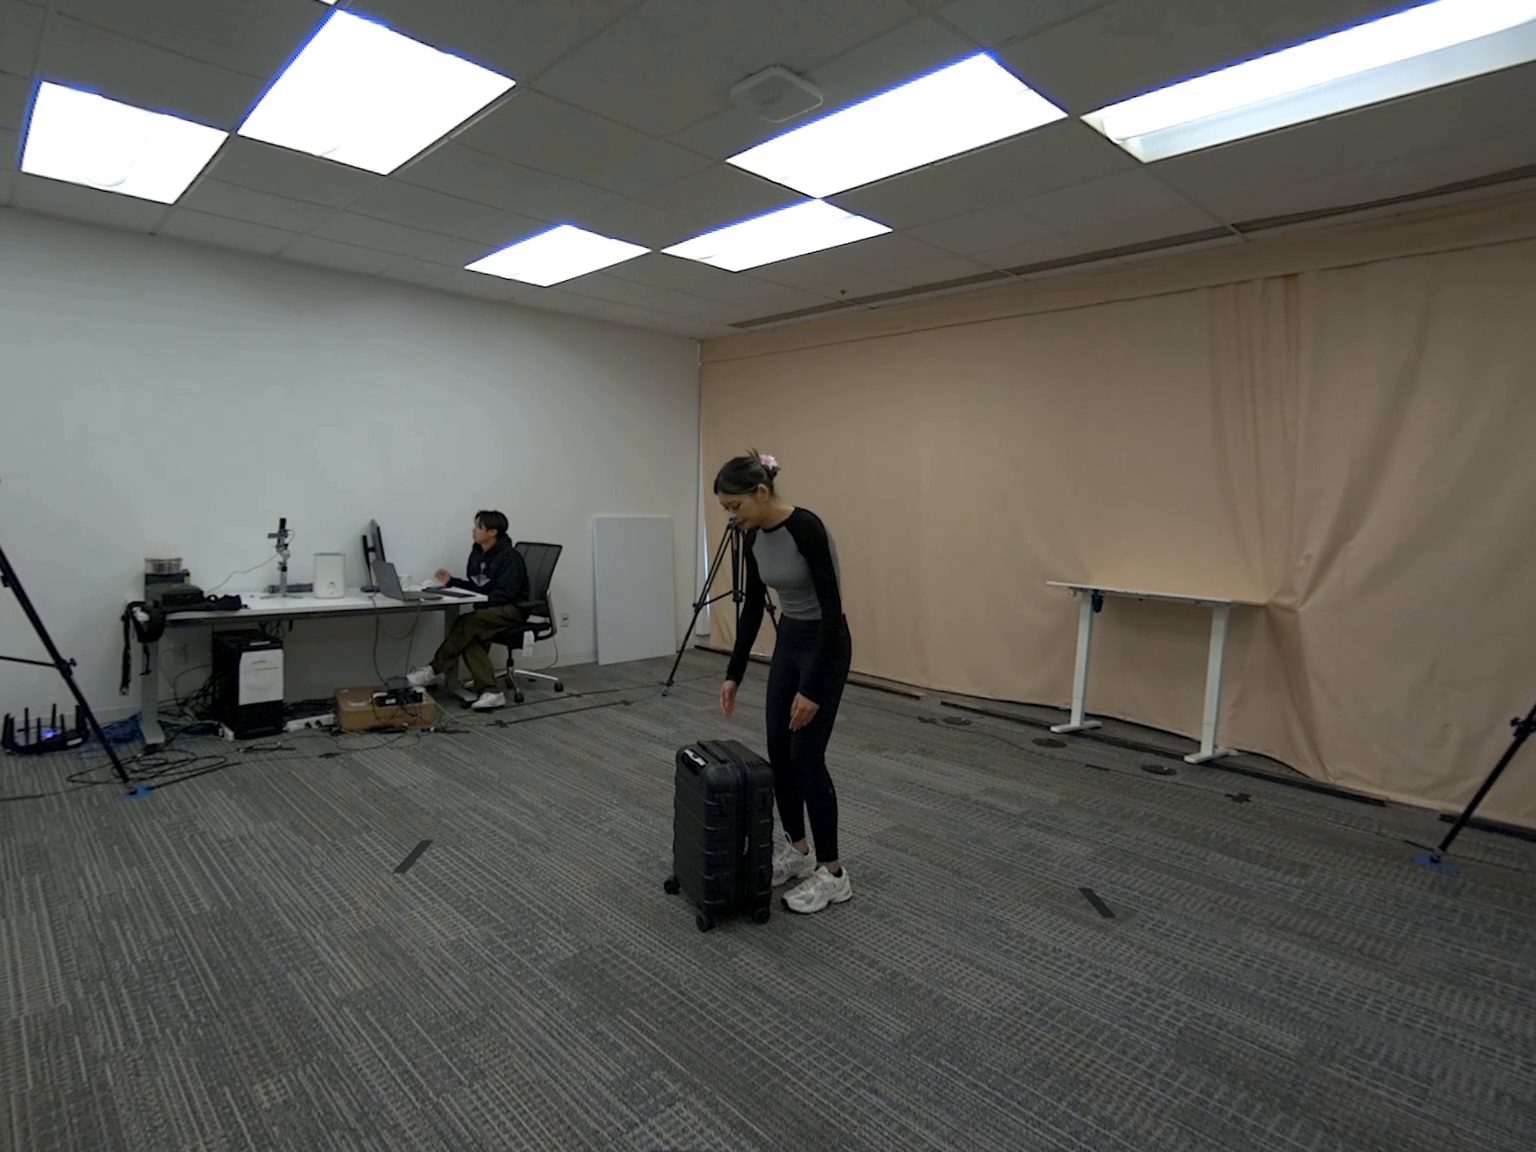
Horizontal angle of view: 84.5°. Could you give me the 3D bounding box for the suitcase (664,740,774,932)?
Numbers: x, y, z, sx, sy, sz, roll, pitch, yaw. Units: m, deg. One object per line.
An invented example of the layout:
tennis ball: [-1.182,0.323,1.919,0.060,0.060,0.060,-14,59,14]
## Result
suitcase: [-0.162,0.850,2.860,0.244,0.548,0.383,0,3,-25]
